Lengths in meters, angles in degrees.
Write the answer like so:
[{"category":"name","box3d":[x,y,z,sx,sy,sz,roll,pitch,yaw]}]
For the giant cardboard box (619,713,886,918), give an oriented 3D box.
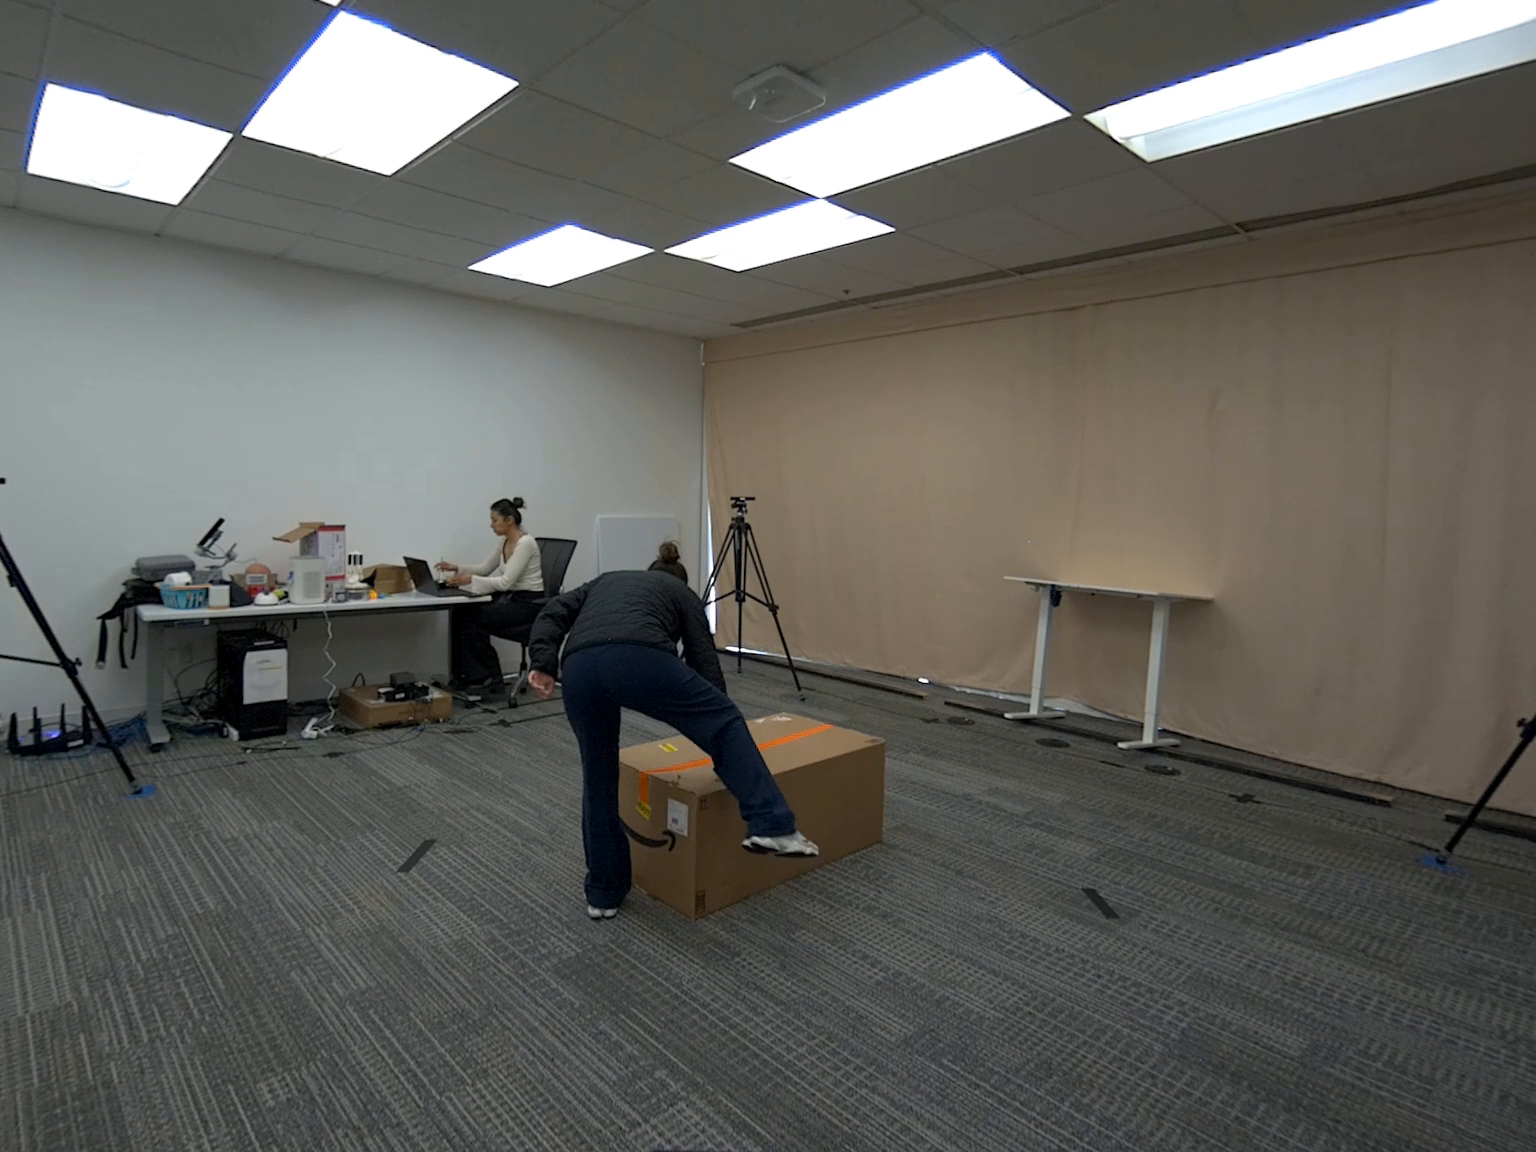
[{"category":"giant cardboard box","box3d":[-0.090,0.884,3.296,1.003,0.445,0.599,-3,7,-44]}]
